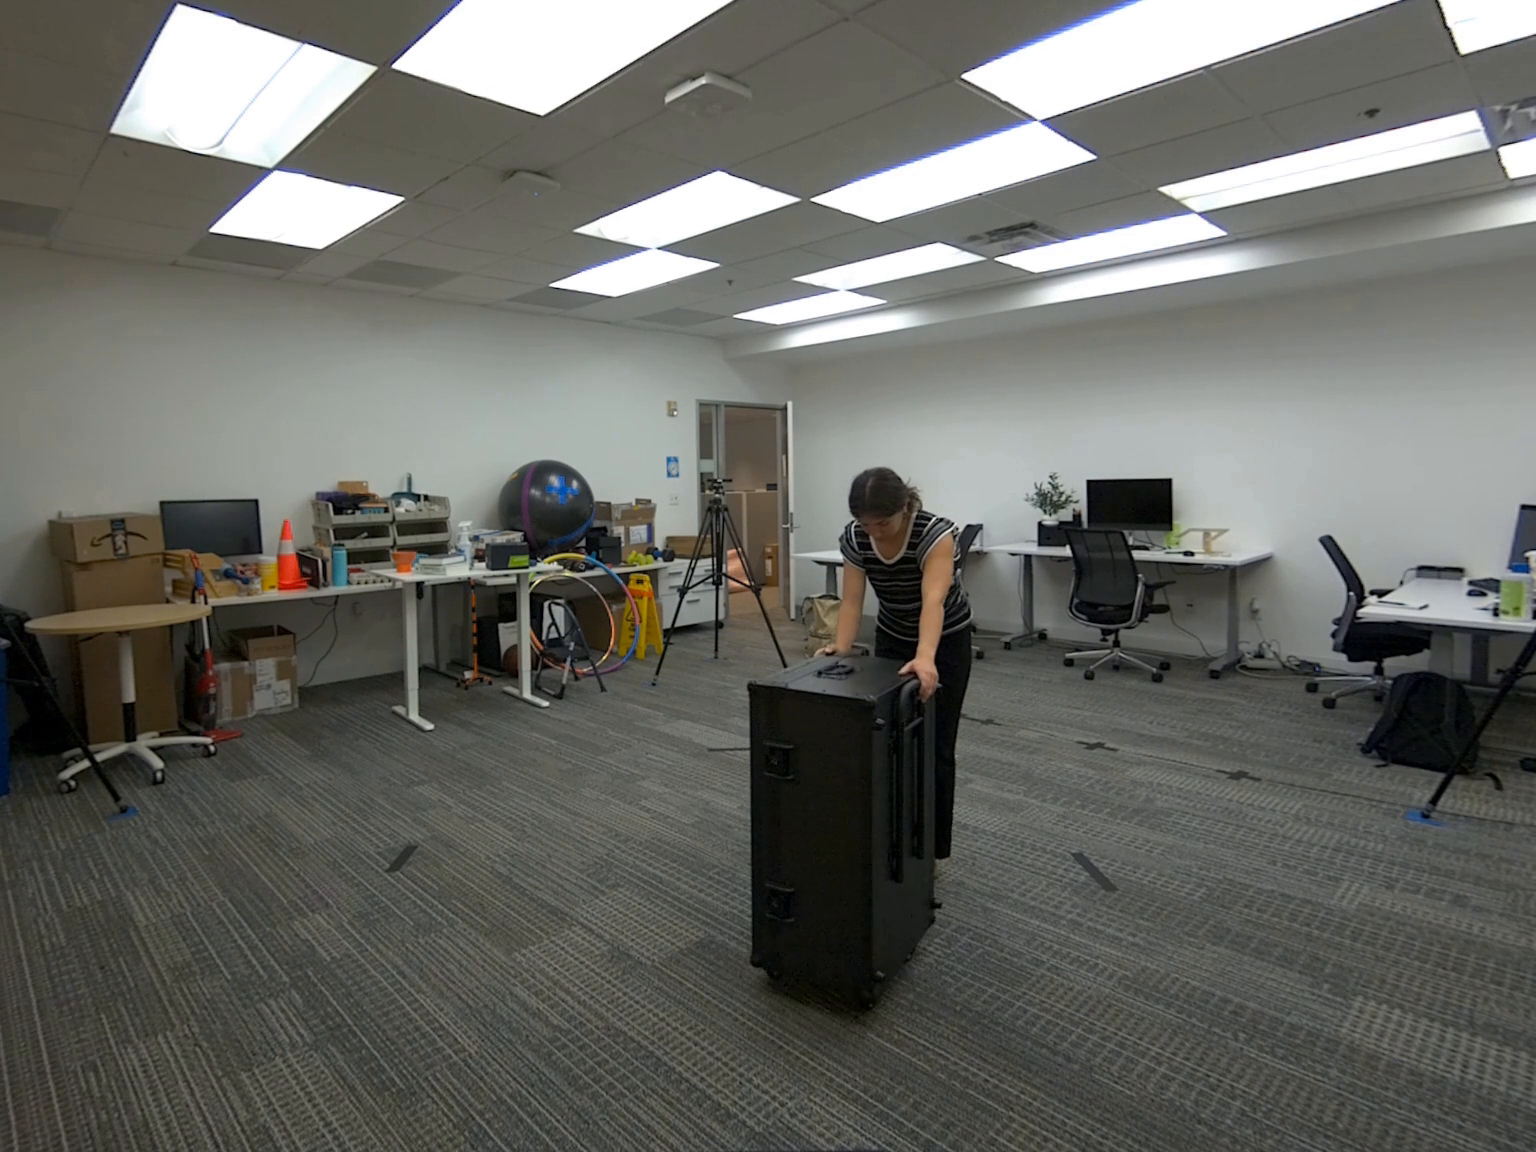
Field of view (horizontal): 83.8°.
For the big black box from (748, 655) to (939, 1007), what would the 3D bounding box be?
[{"bbox_3d":[0.233,0.700,2.412,0.407,0.858,0.509,3,5,31],"label":"big black box"}]
